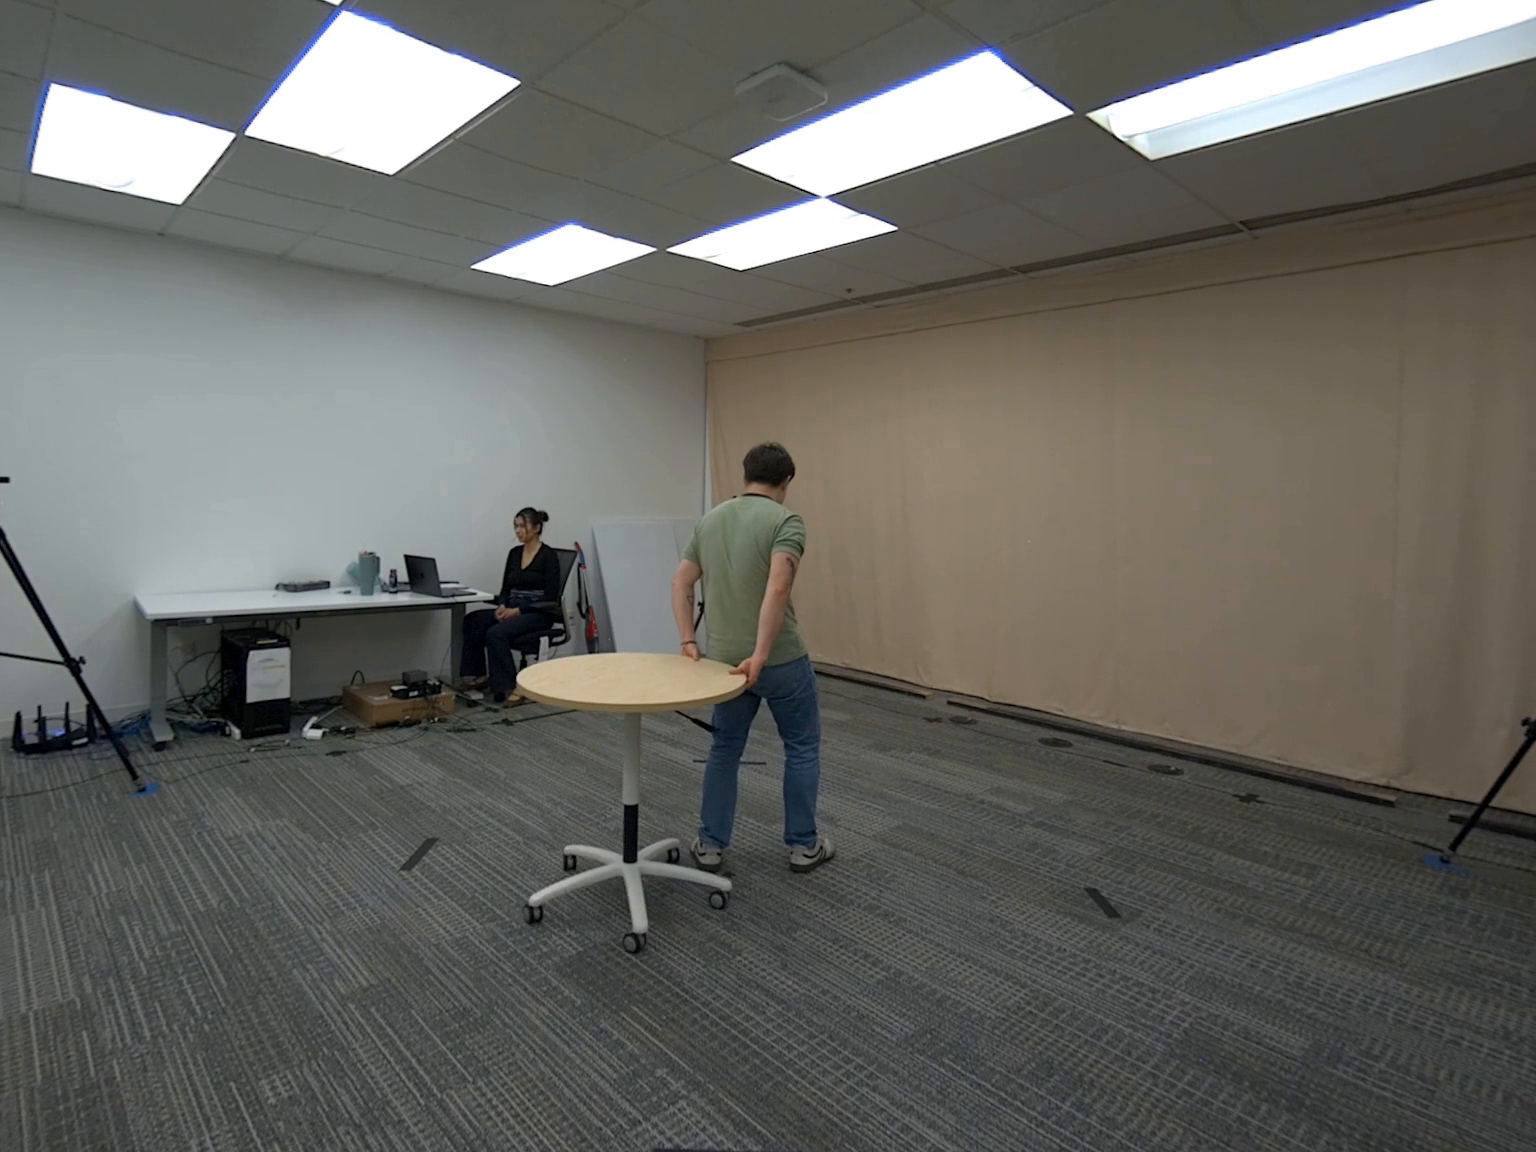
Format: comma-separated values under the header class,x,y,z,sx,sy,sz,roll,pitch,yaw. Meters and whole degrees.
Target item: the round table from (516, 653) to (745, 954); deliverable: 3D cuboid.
class,x,y,z,sx,sy,sz,roll,pitch,yaw
round table,-0.469,0.729,2.861,0.763,0.791,0.767,1,5,-1
